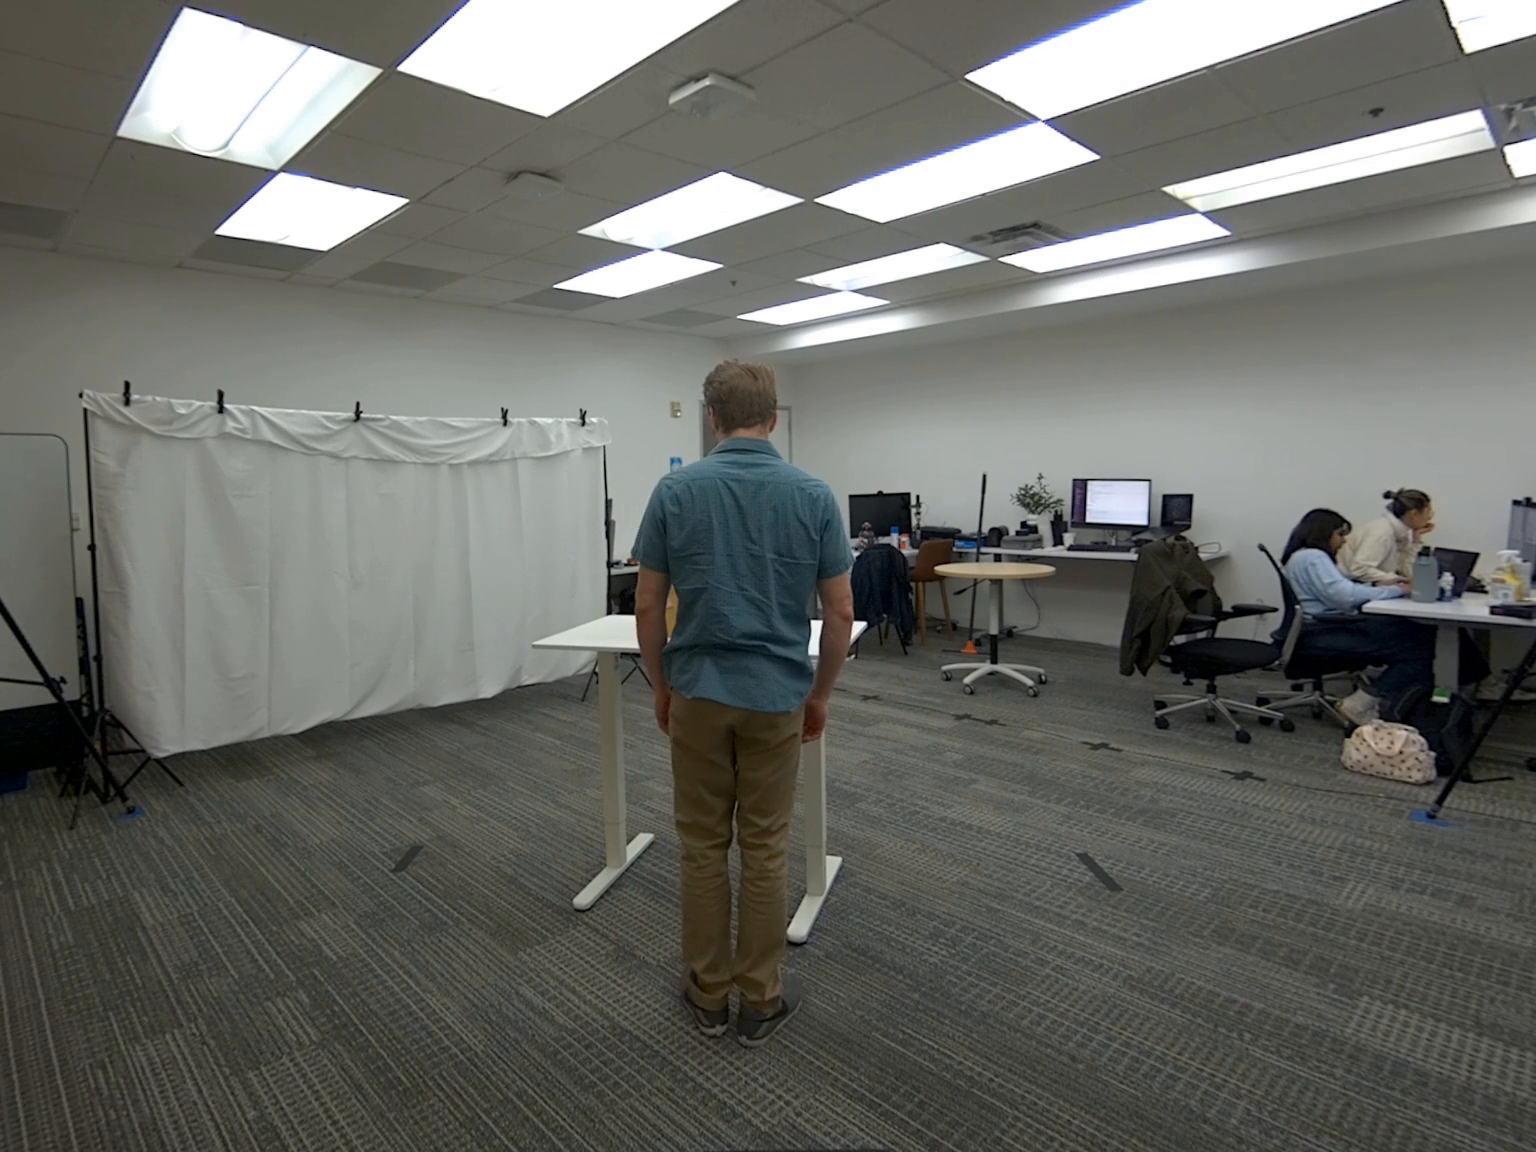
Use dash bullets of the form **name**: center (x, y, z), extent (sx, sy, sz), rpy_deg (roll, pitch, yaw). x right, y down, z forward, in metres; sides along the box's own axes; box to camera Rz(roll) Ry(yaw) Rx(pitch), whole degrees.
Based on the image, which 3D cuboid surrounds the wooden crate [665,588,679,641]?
- **wooden crate**: center (-0.211, 0.057, 2.922), extent (0.308, 0.272, 0.319), rpy_deg (0, 5, 21)
